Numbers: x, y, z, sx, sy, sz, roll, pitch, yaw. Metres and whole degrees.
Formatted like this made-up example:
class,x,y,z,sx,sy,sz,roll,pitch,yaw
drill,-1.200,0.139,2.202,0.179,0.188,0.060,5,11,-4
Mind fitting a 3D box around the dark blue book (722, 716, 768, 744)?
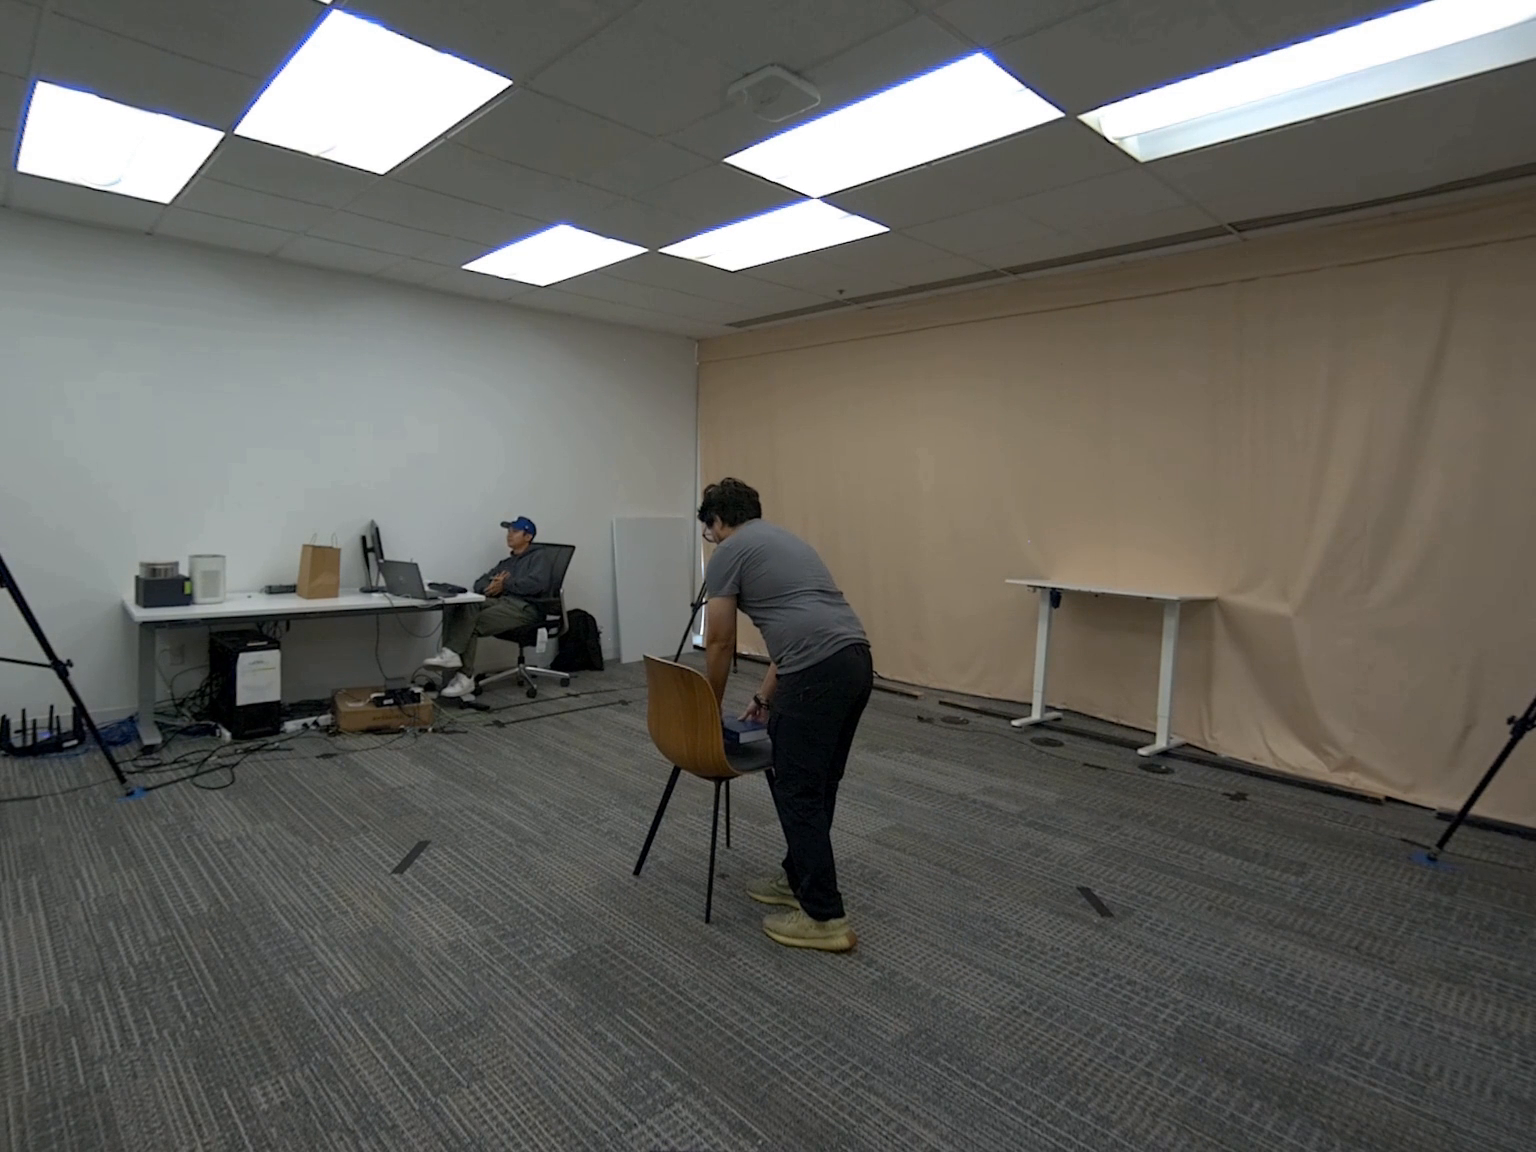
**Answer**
class,x,y,z,sx,sy,sz,roll,pitch,yaw
dark blue book,-0.112,0.552,3.050,0.160,0.045,0.251,-1,2,-39
